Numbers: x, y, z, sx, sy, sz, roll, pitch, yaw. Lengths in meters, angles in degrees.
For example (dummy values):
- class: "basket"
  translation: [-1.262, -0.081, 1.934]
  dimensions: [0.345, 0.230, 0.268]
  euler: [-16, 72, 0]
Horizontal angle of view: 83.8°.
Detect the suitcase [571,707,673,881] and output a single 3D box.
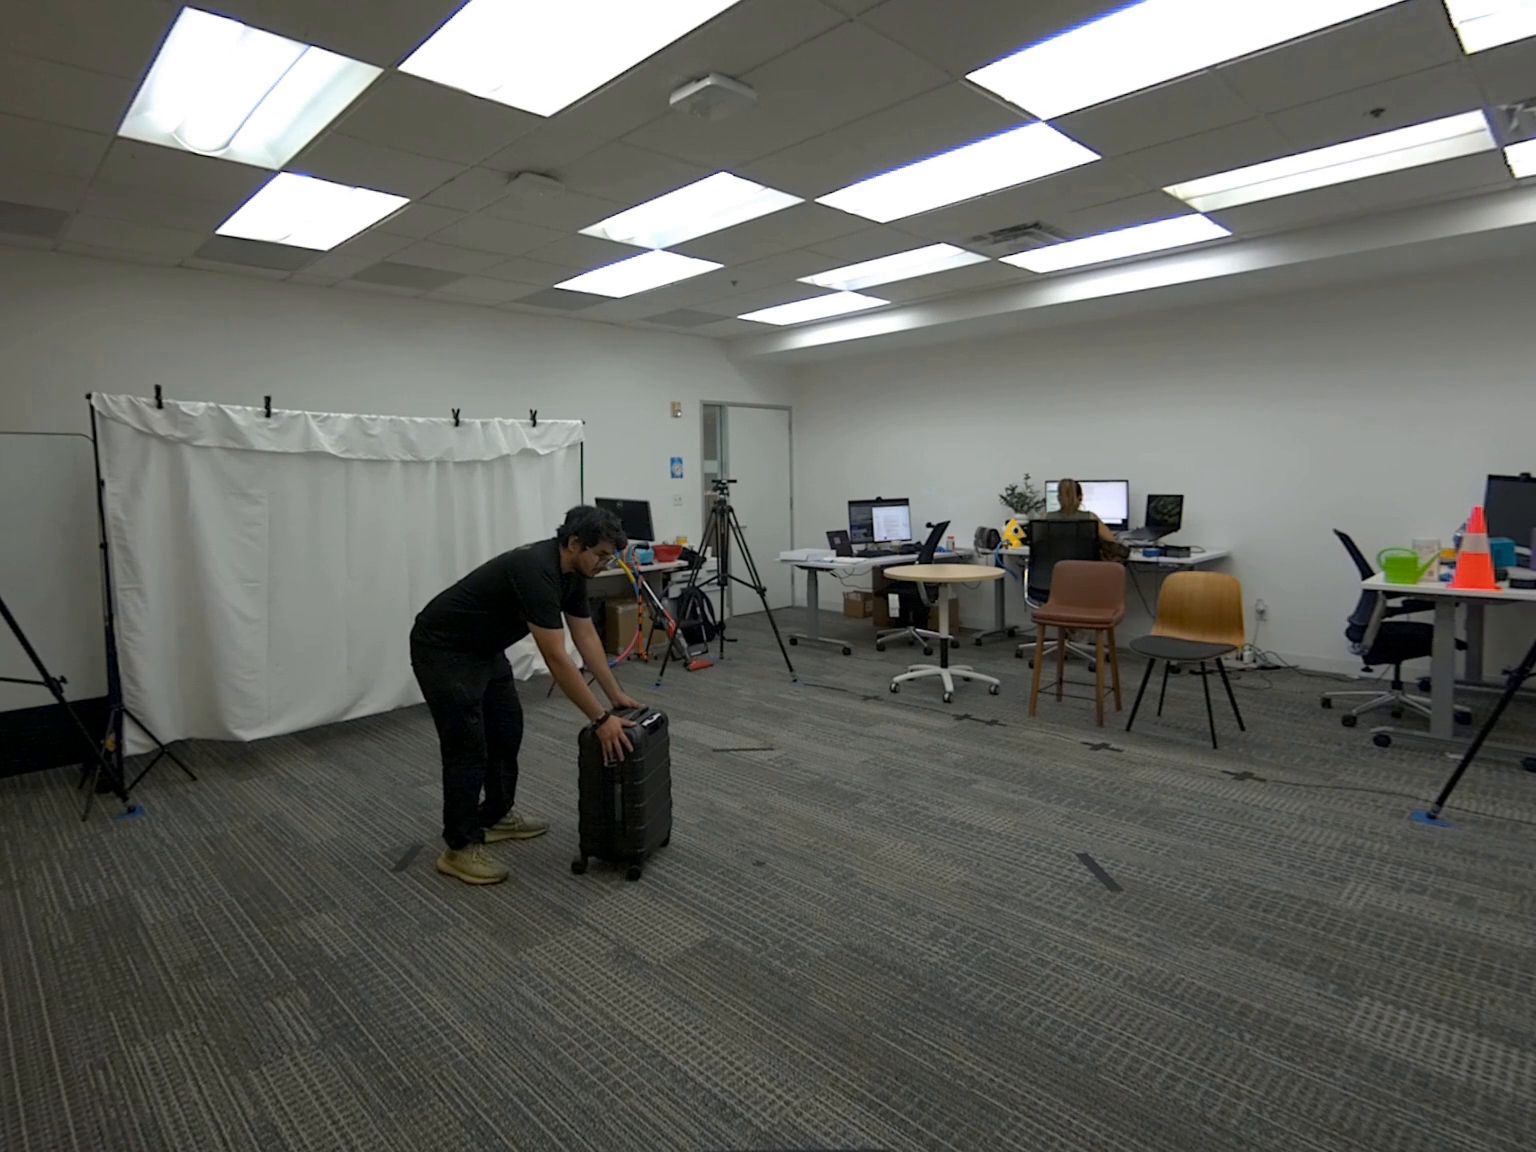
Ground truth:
- class: "suitcase"
  translation: [-0.526, 0.769, 3.159]
  dimensions: [0.252, 0.547, 0.371]
  euler: [1, 5, 15]
